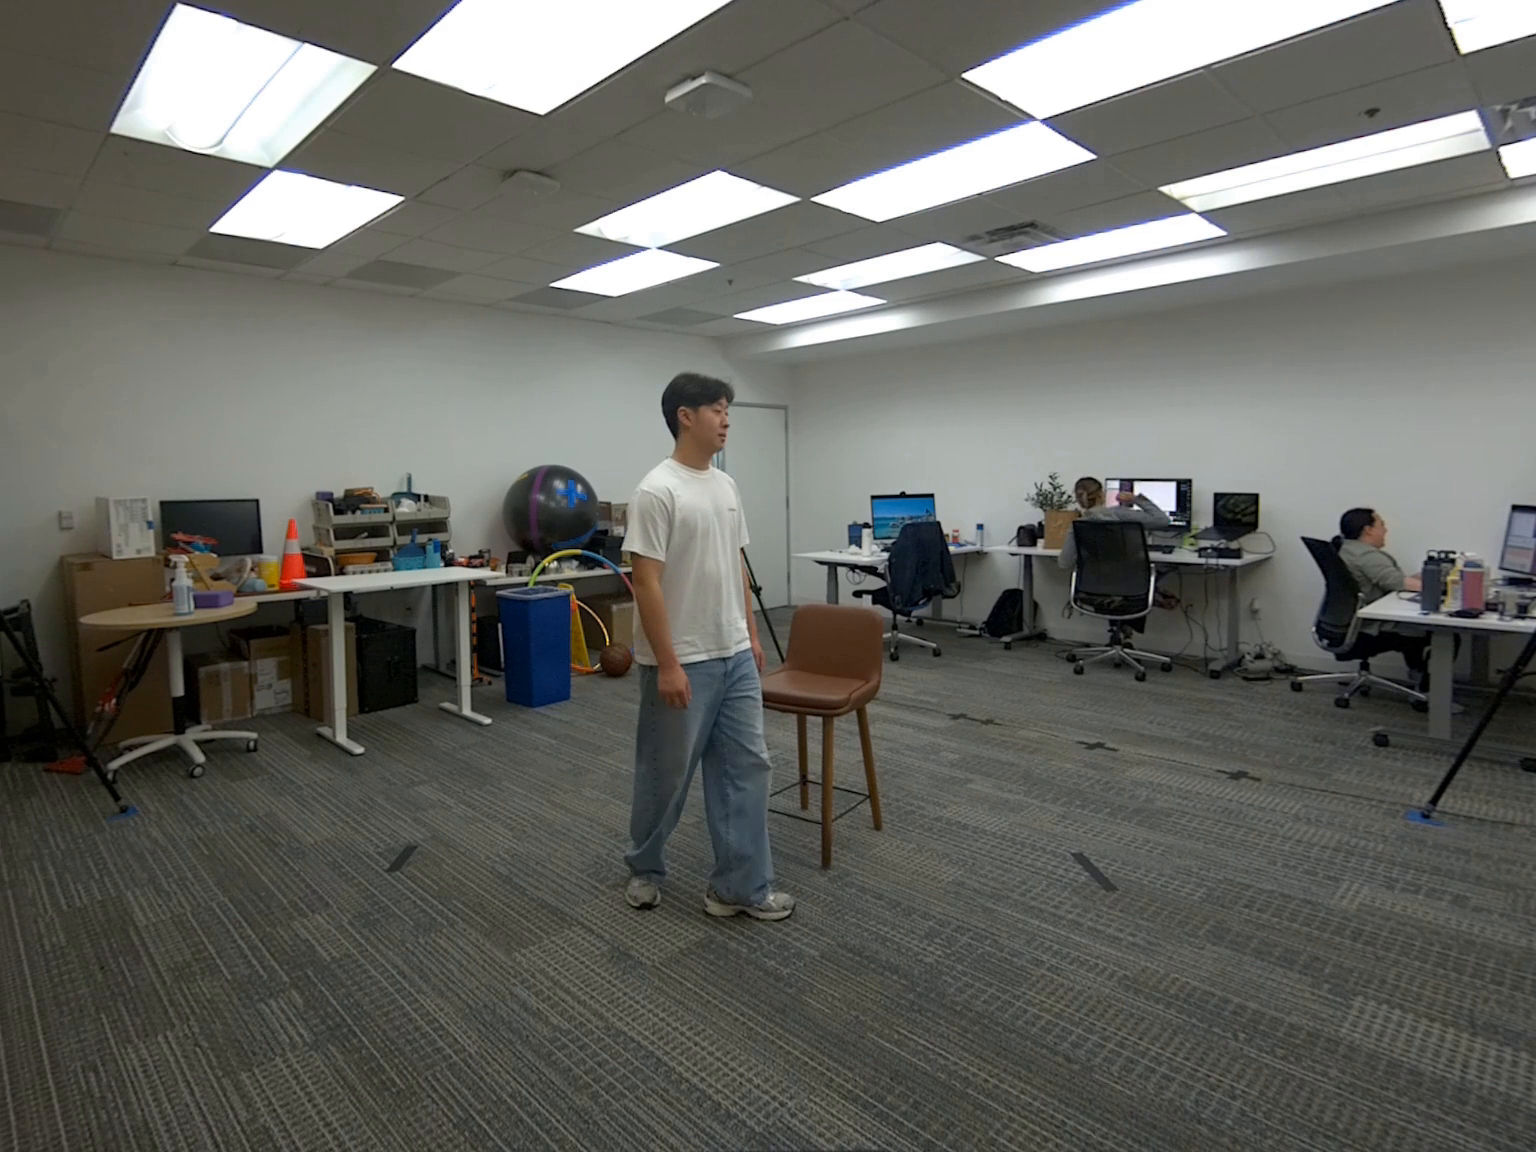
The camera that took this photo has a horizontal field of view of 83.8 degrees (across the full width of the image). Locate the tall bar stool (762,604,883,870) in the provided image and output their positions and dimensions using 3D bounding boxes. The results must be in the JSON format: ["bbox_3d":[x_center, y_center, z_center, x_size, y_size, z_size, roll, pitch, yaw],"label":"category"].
[{"bbox_3d":[0.179,0.581,3.315,0.470,0.888,0.455,2,3,37],"label":"tall bar stool"}]
